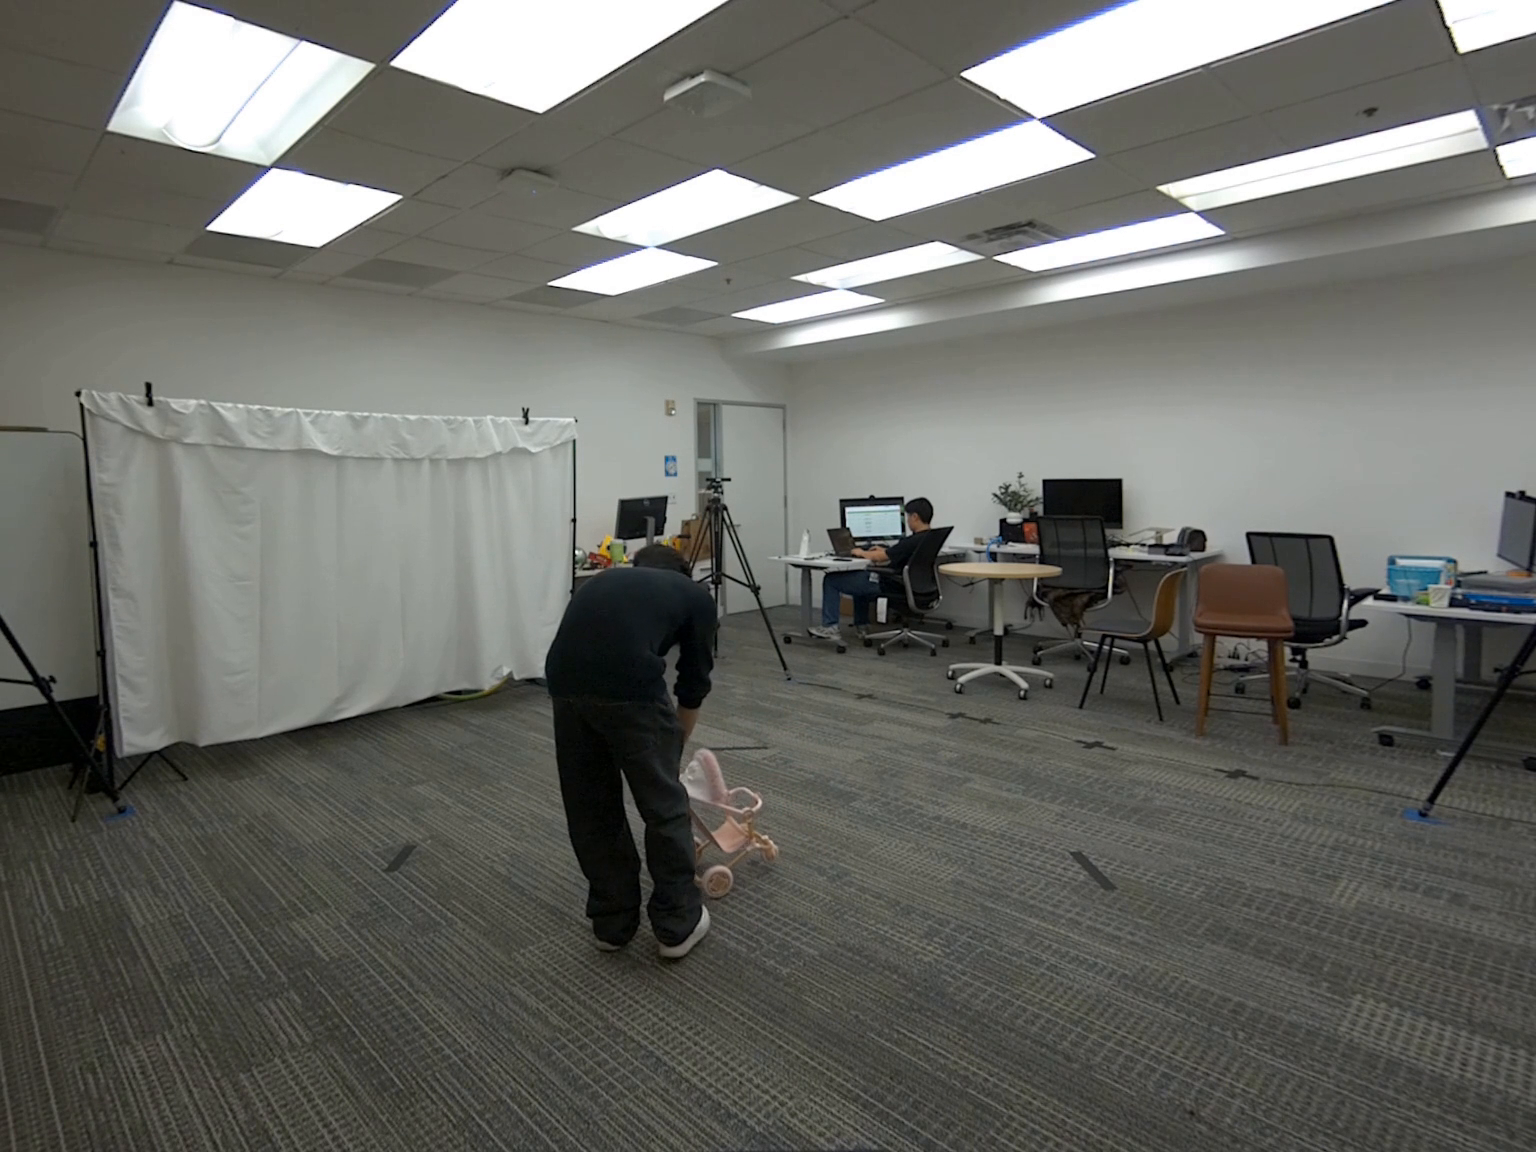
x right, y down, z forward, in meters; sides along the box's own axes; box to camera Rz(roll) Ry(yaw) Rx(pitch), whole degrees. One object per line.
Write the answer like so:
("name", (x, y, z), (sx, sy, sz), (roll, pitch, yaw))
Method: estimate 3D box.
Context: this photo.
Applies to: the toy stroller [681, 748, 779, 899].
("toy stroller", (-0.178, 0.833, 2.971), (0.338, 0.528, 0.288), (-24, 12, -18))
